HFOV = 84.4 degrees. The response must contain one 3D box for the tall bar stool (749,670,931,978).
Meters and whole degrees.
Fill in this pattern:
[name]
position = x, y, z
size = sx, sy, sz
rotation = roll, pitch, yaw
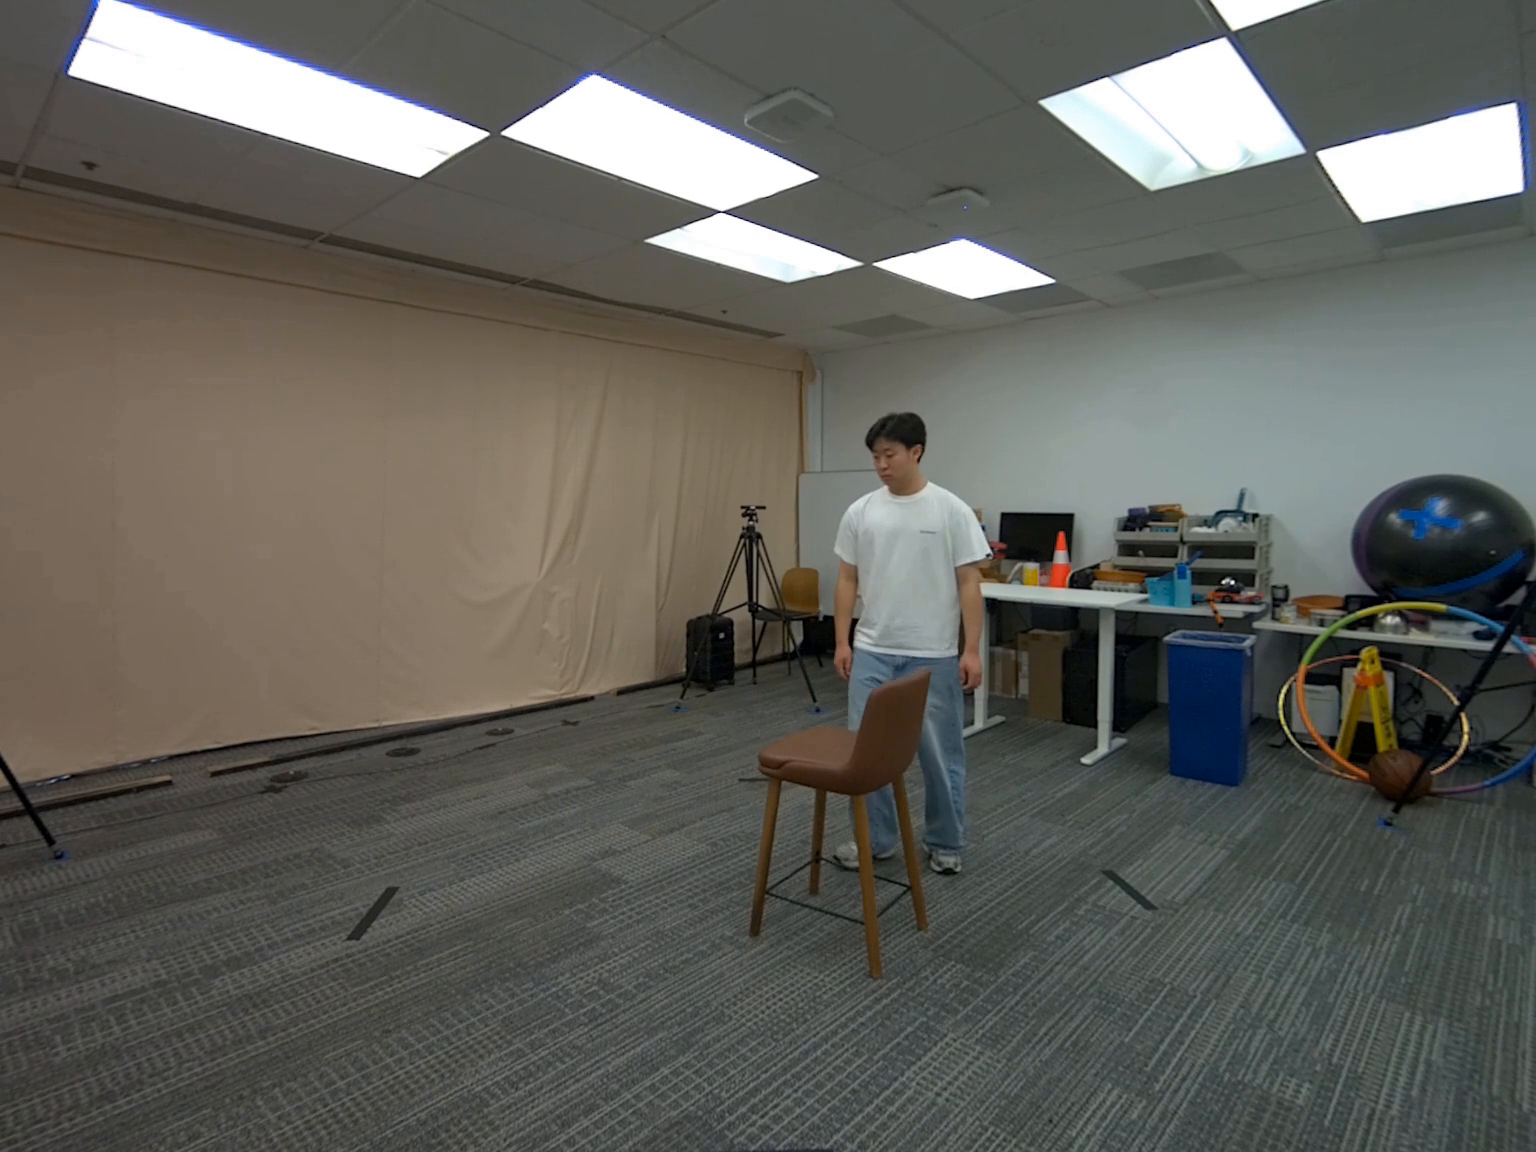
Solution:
[tall bar stool]
position = 0.242, 0.729, 2.725
size = 0.482, 0.887, 0.443
rotation = 4, 5, 35
